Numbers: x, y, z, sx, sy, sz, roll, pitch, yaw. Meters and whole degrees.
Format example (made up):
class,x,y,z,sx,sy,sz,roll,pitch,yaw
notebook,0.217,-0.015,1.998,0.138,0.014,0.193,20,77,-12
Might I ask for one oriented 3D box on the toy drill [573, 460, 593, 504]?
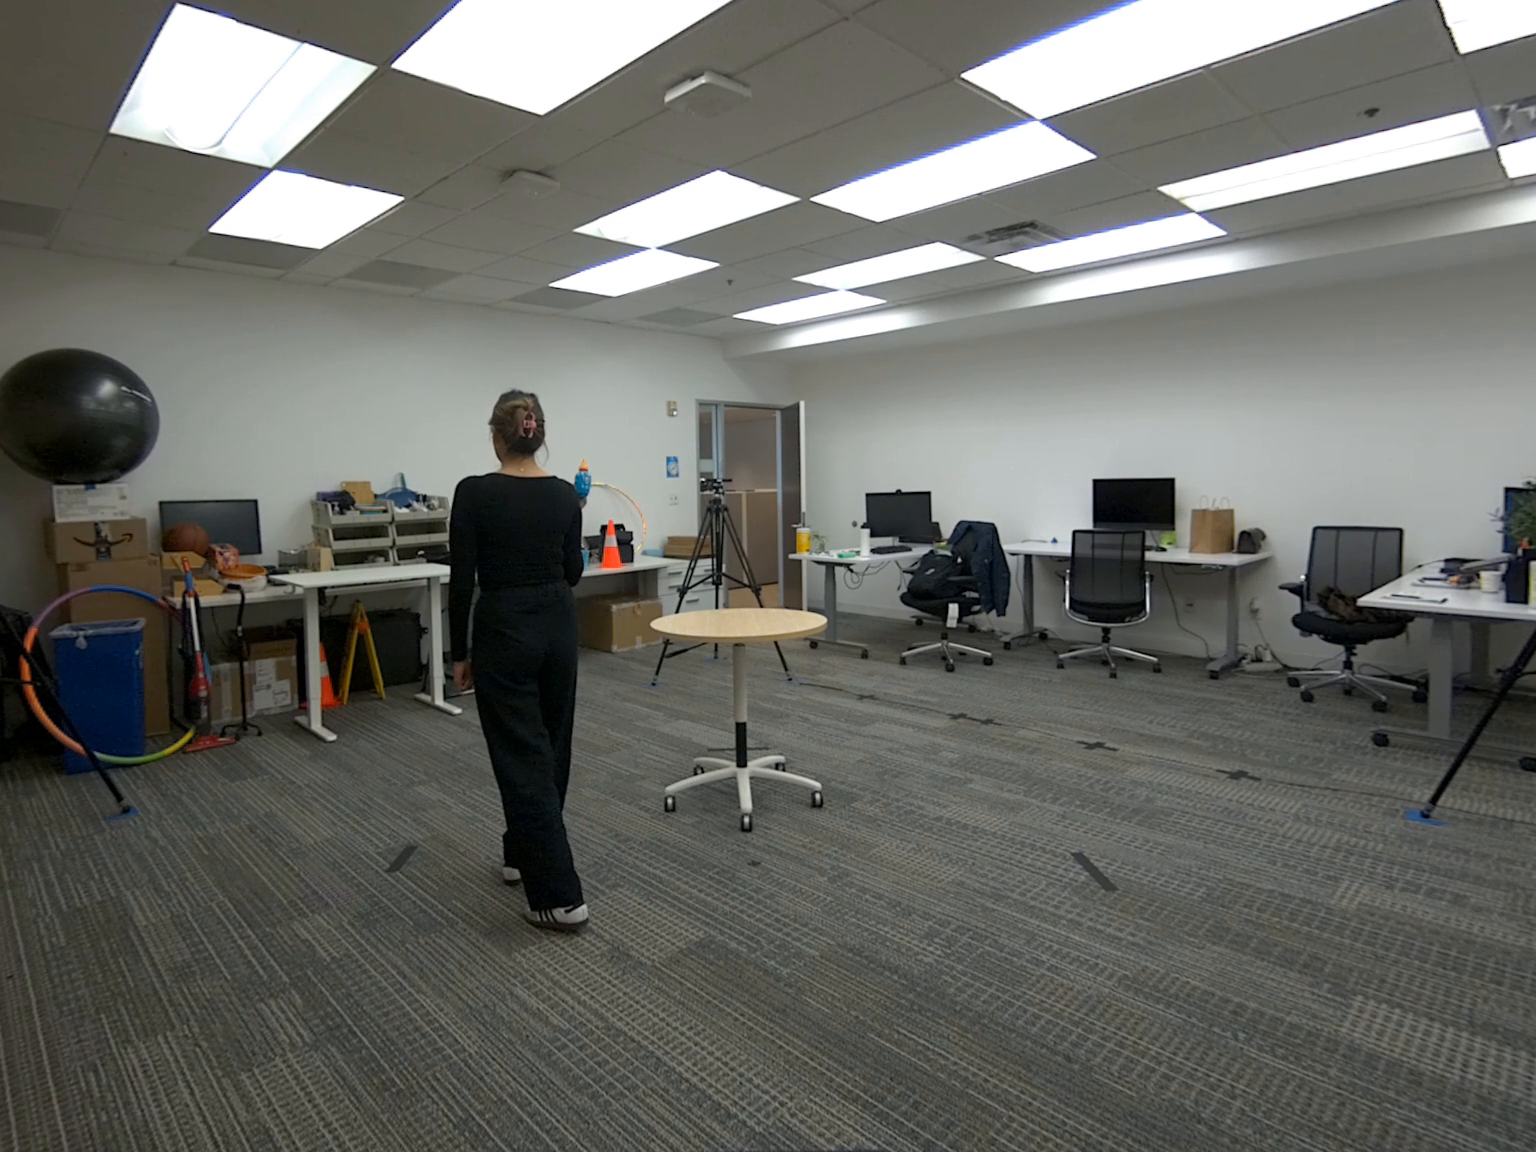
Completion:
class,x,y,z,sx,sy,sz,roll,pitch,yaw
toy drill,-0.692,-0.343,3.134,0.059,0.174,0.146,11,-32,-31
